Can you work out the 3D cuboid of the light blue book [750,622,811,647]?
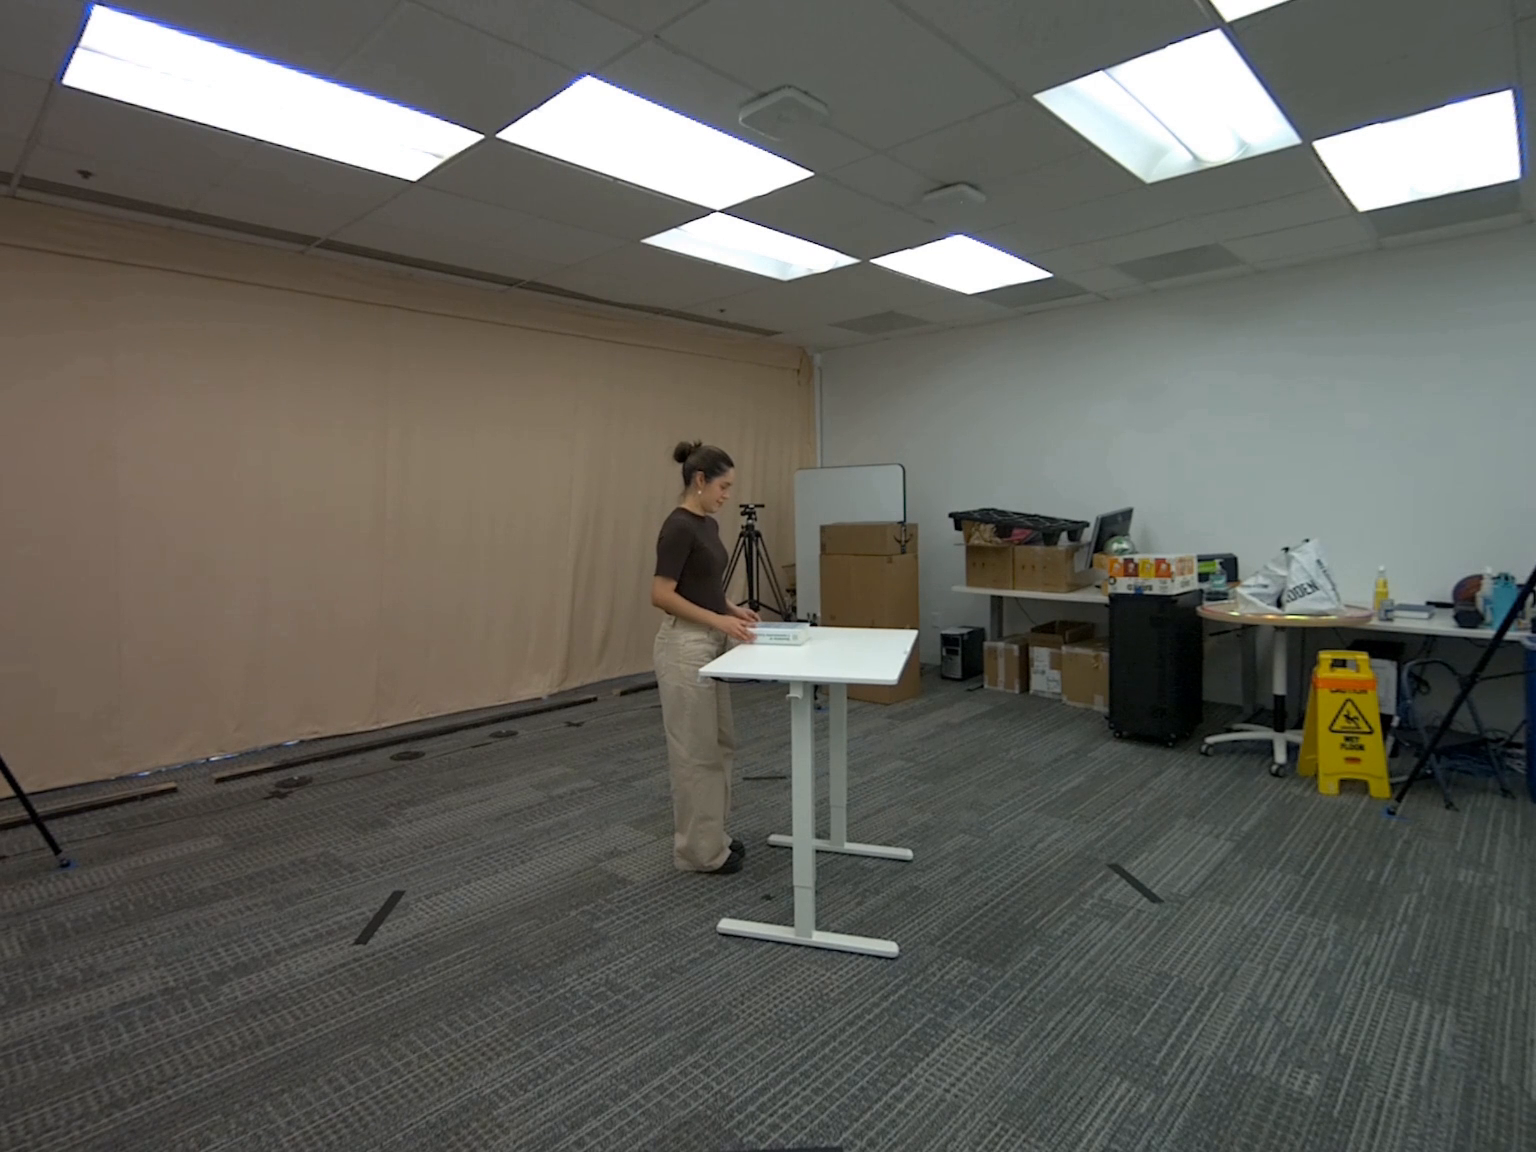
[{"bbox_3d":[0.023,0.217,3.146,0.265,0.059,0.188,-1,3,15],"label":"light blue book"}]
